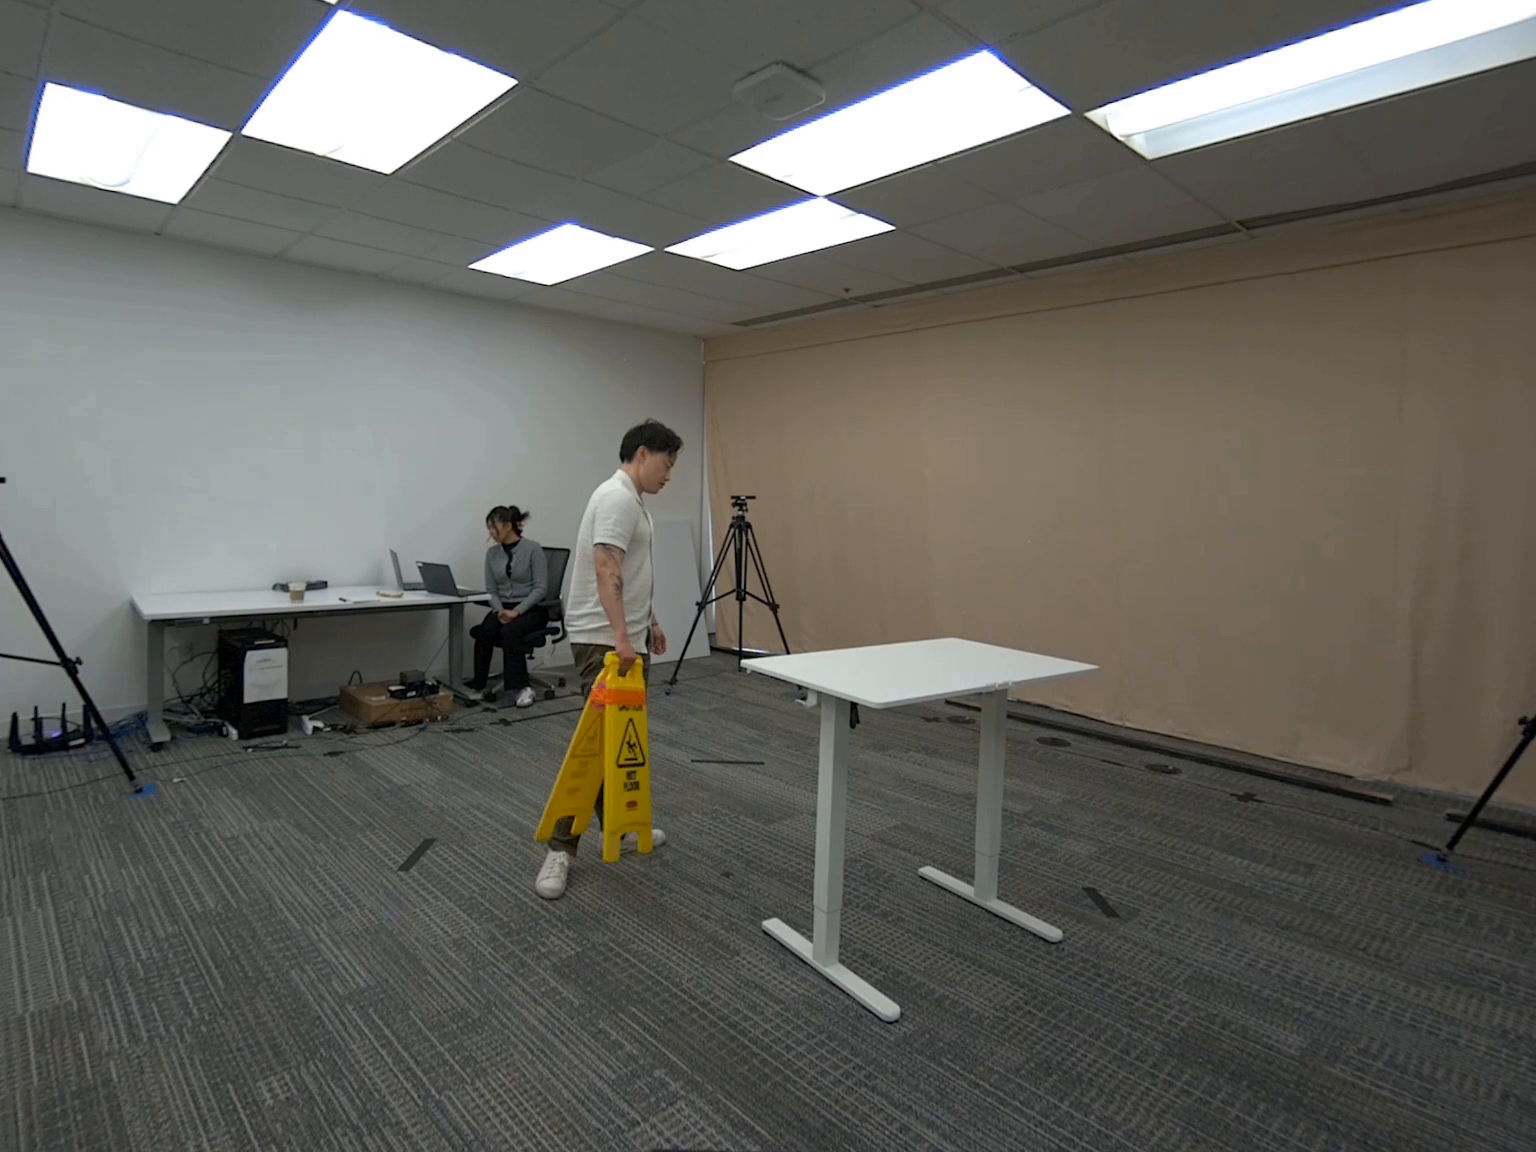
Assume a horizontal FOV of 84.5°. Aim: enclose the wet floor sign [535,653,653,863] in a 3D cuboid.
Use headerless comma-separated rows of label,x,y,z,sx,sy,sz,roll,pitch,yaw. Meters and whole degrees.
wet floor sign,-0.531,0.586,2.842,0.296,0.649,0.275,5,-7,26
